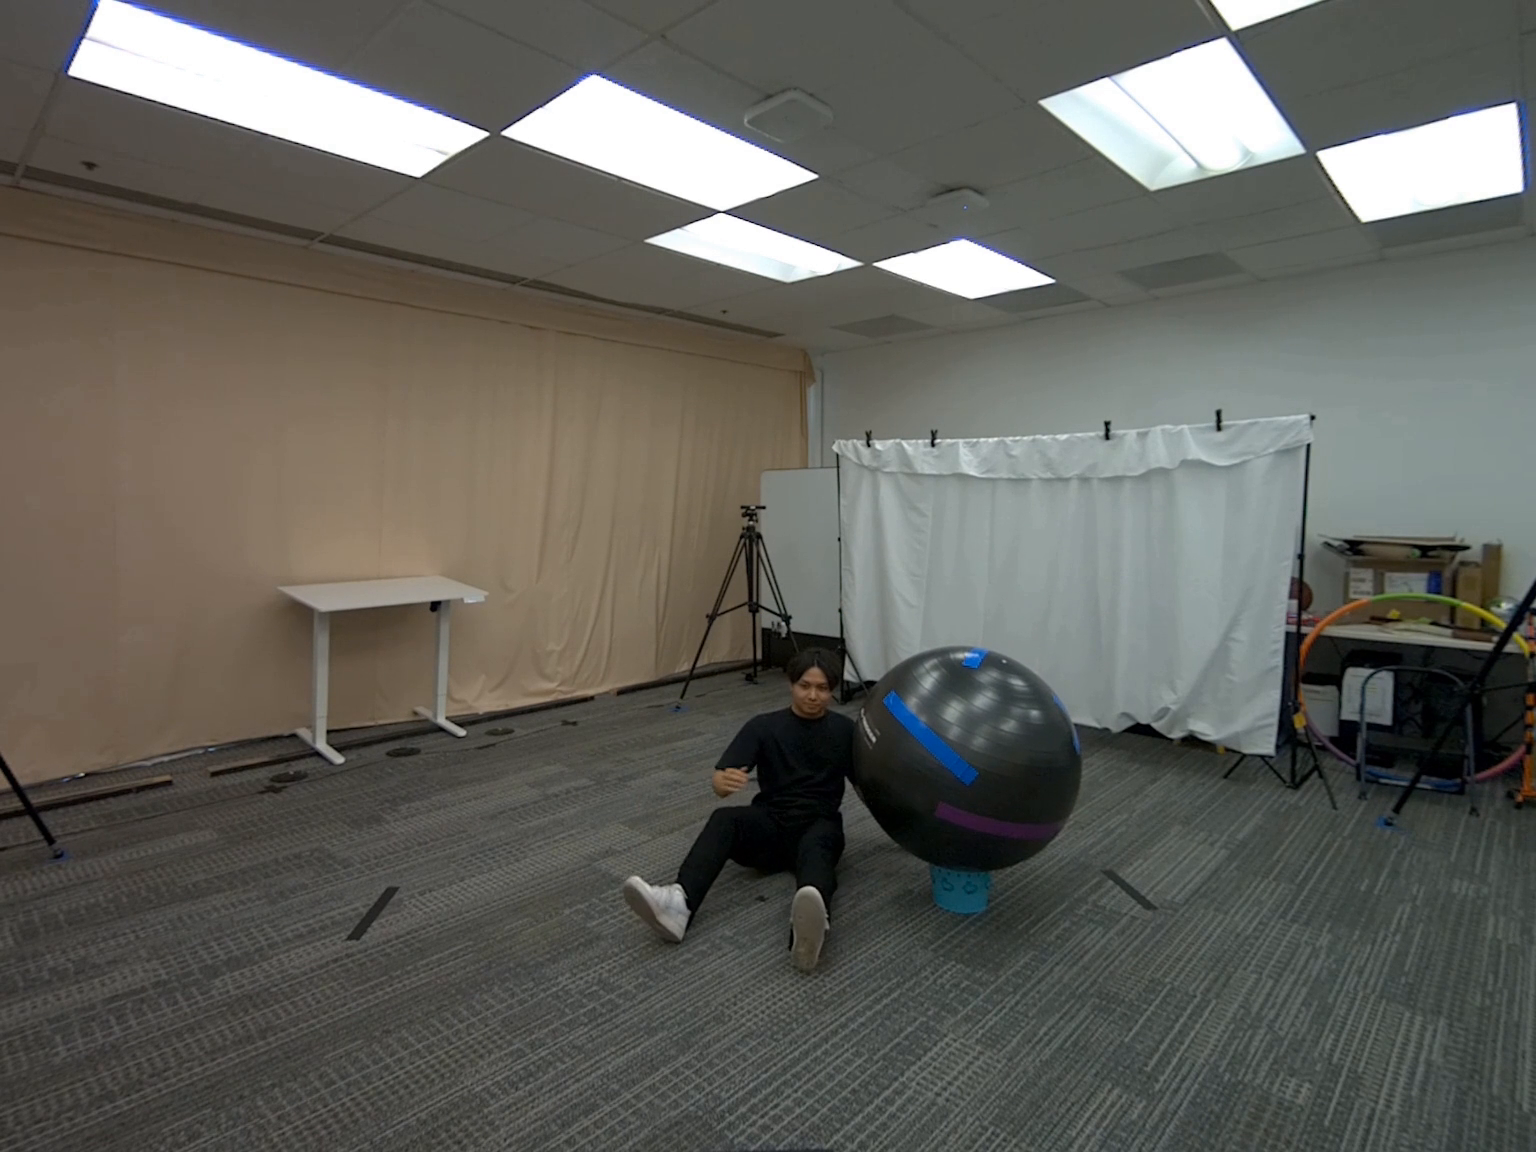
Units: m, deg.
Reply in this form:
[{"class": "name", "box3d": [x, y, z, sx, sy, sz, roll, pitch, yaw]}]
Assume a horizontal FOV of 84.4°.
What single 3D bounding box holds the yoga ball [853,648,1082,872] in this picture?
[{"class": "yoga ball", "box3d": [0.699, 0.648, 2.939, 0.757, 0.756, 0.760, 0, 4, -2]}]
